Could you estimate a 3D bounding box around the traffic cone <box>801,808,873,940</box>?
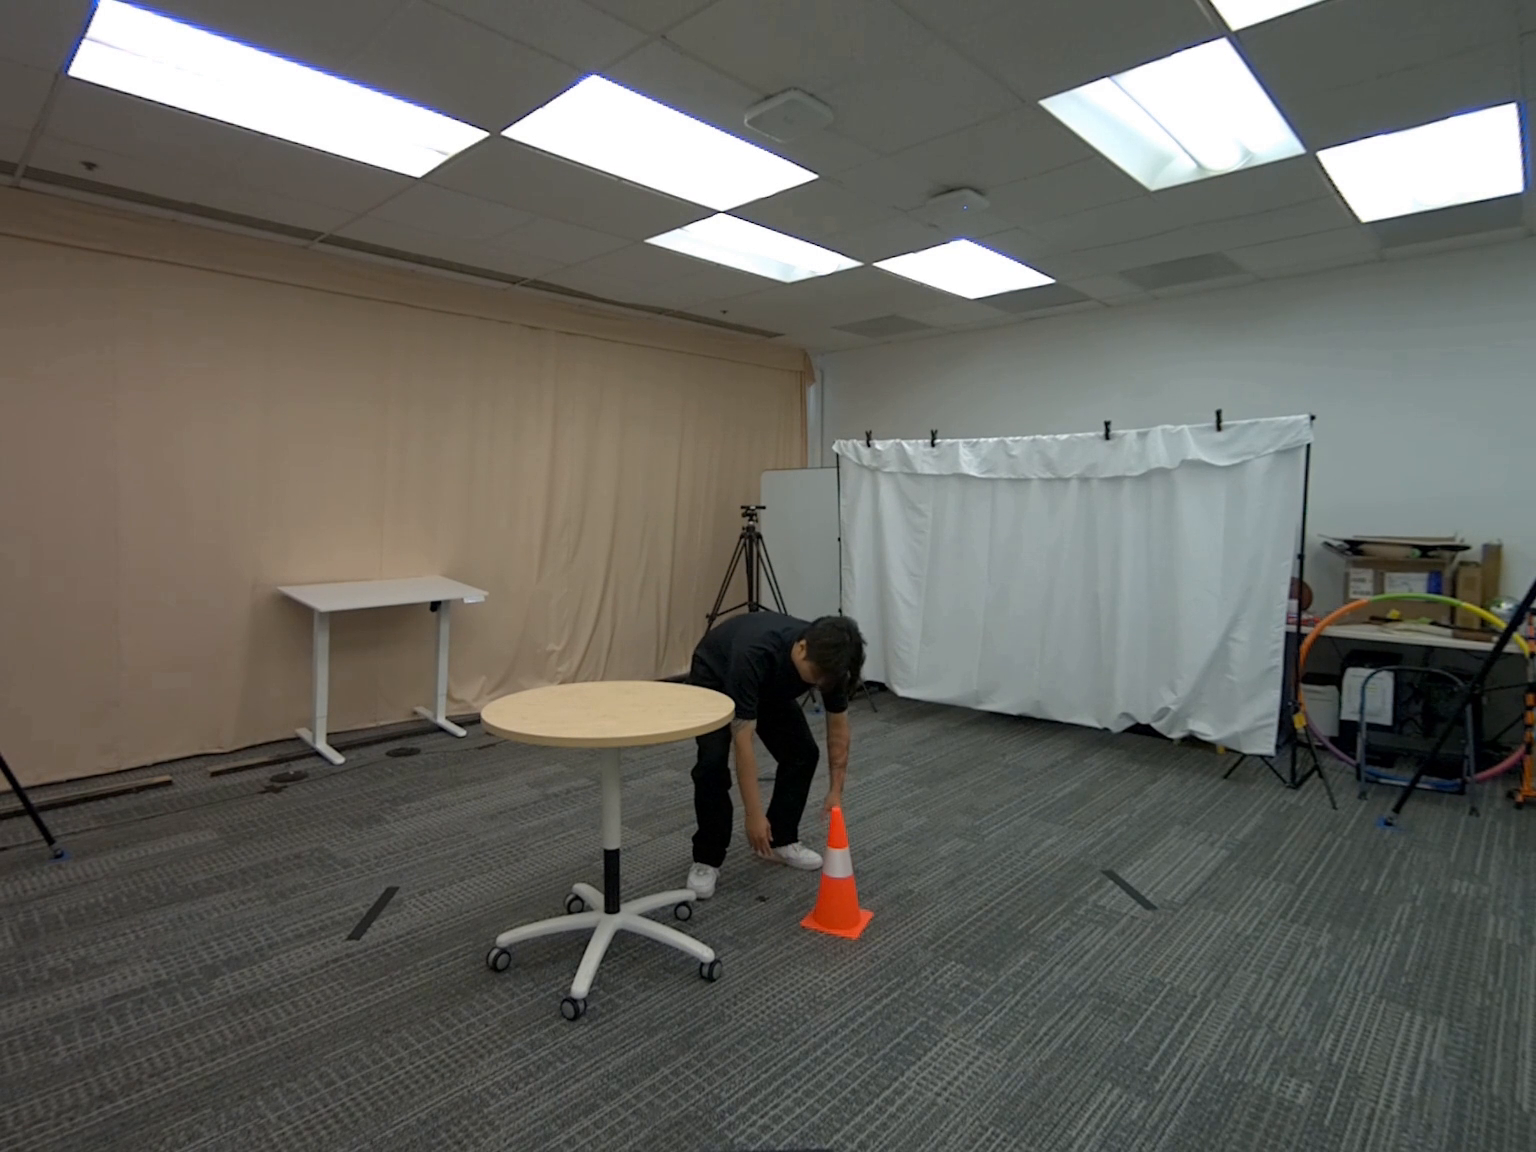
[{"bbox_3d":[0.237,0.976,2.829,0.210,0.383,0.199,1,2,22],"label":"traffic cone"}]
